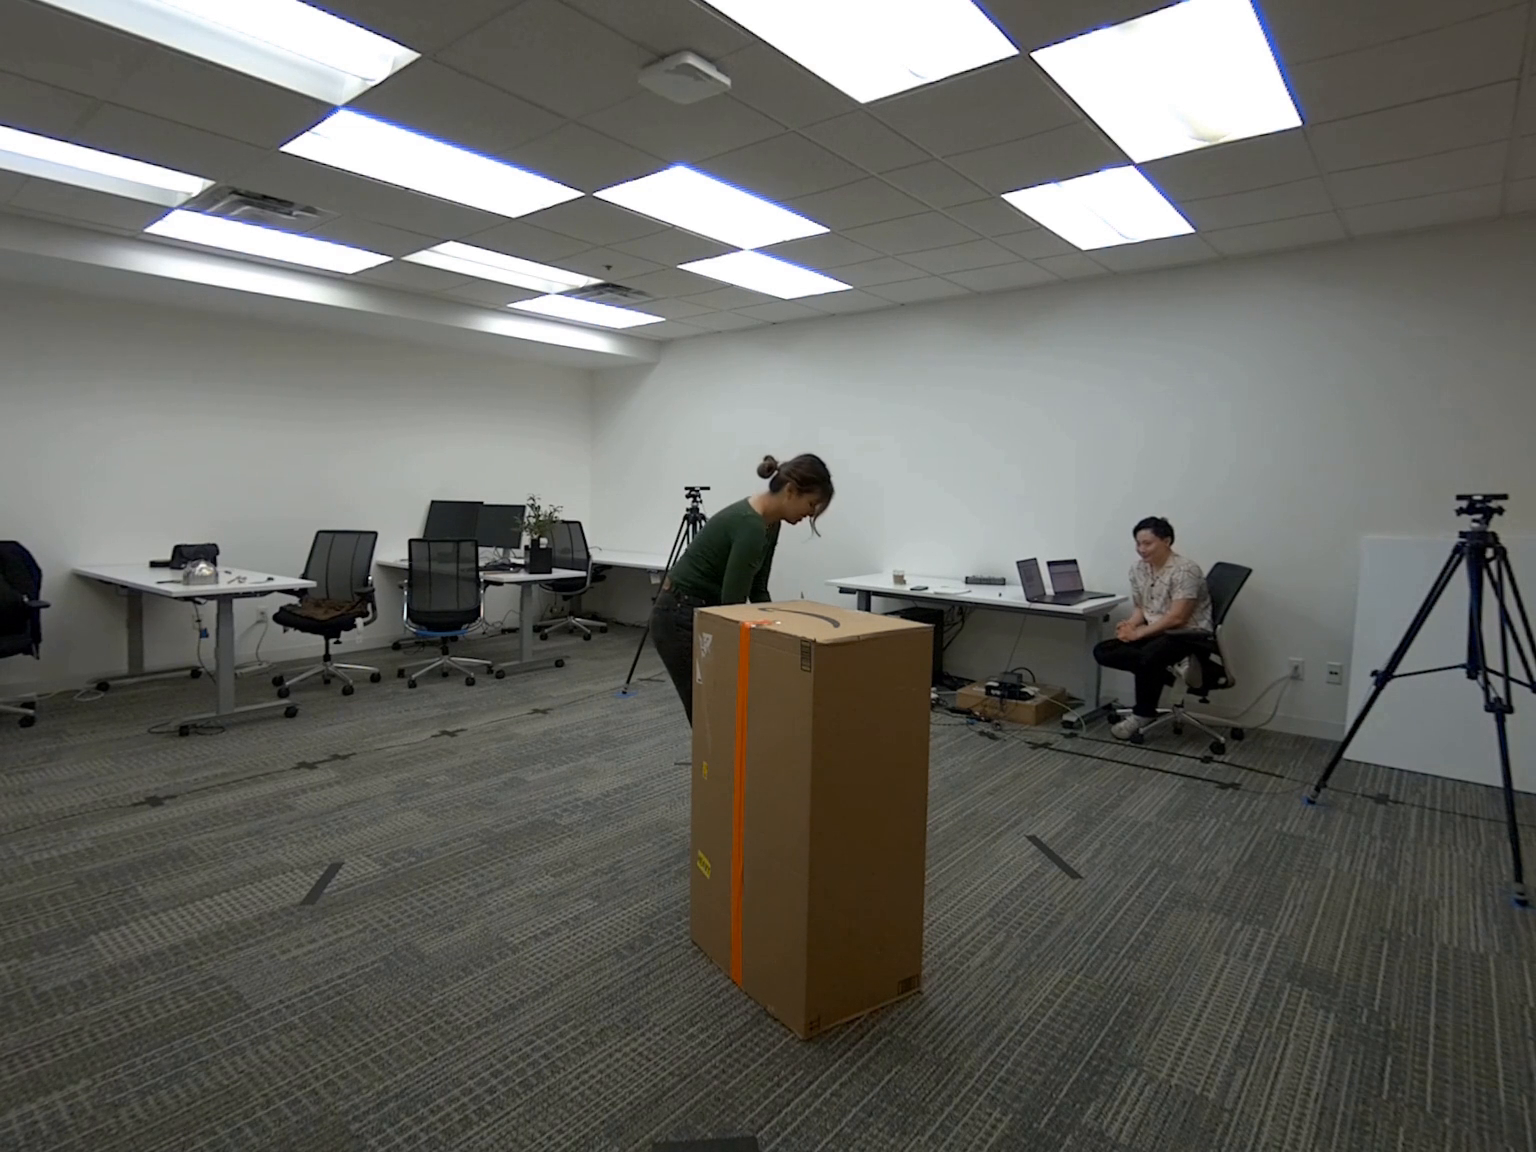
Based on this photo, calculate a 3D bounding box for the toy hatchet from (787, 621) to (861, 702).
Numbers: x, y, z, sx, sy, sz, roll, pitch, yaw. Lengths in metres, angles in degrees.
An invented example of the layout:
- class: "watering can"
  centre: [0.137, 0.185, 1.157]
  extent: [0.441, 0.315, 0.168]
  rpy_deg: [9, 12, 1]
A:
- class: "toy hatchet"
  centre: [0.195, 0.304, 3.005]
  extent: [0.135, 0.269, 0.029]
  rpy_deg: [48, 24, 26]
